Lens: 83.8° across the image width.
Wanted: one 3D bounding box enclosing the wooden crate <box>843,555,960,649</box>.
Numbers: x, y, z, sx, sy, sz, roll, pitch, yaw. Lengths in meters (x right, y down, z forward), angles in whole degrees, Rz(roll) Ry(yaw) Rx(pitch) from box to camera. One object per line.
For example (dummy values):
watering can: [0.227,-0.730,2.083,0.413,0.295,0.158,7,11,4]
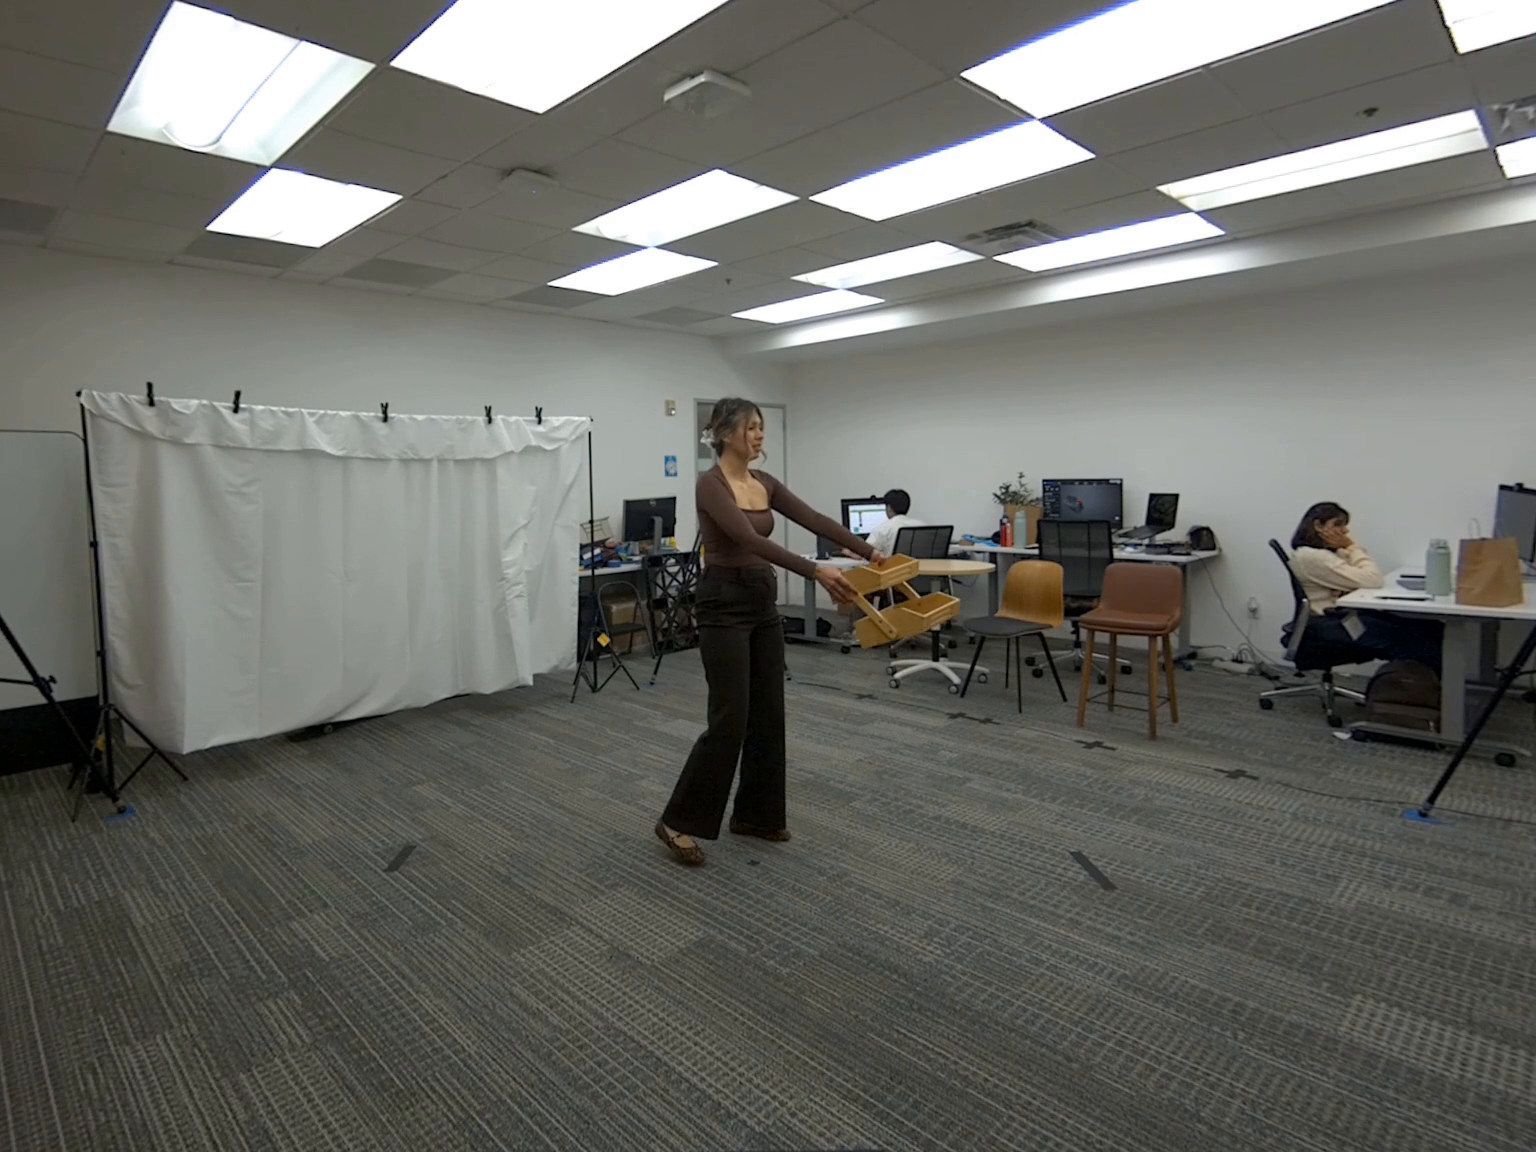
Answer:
wooden crate: [0.427,0.068,2.894,0.307,0.275,0.317,-22,-6,36]
